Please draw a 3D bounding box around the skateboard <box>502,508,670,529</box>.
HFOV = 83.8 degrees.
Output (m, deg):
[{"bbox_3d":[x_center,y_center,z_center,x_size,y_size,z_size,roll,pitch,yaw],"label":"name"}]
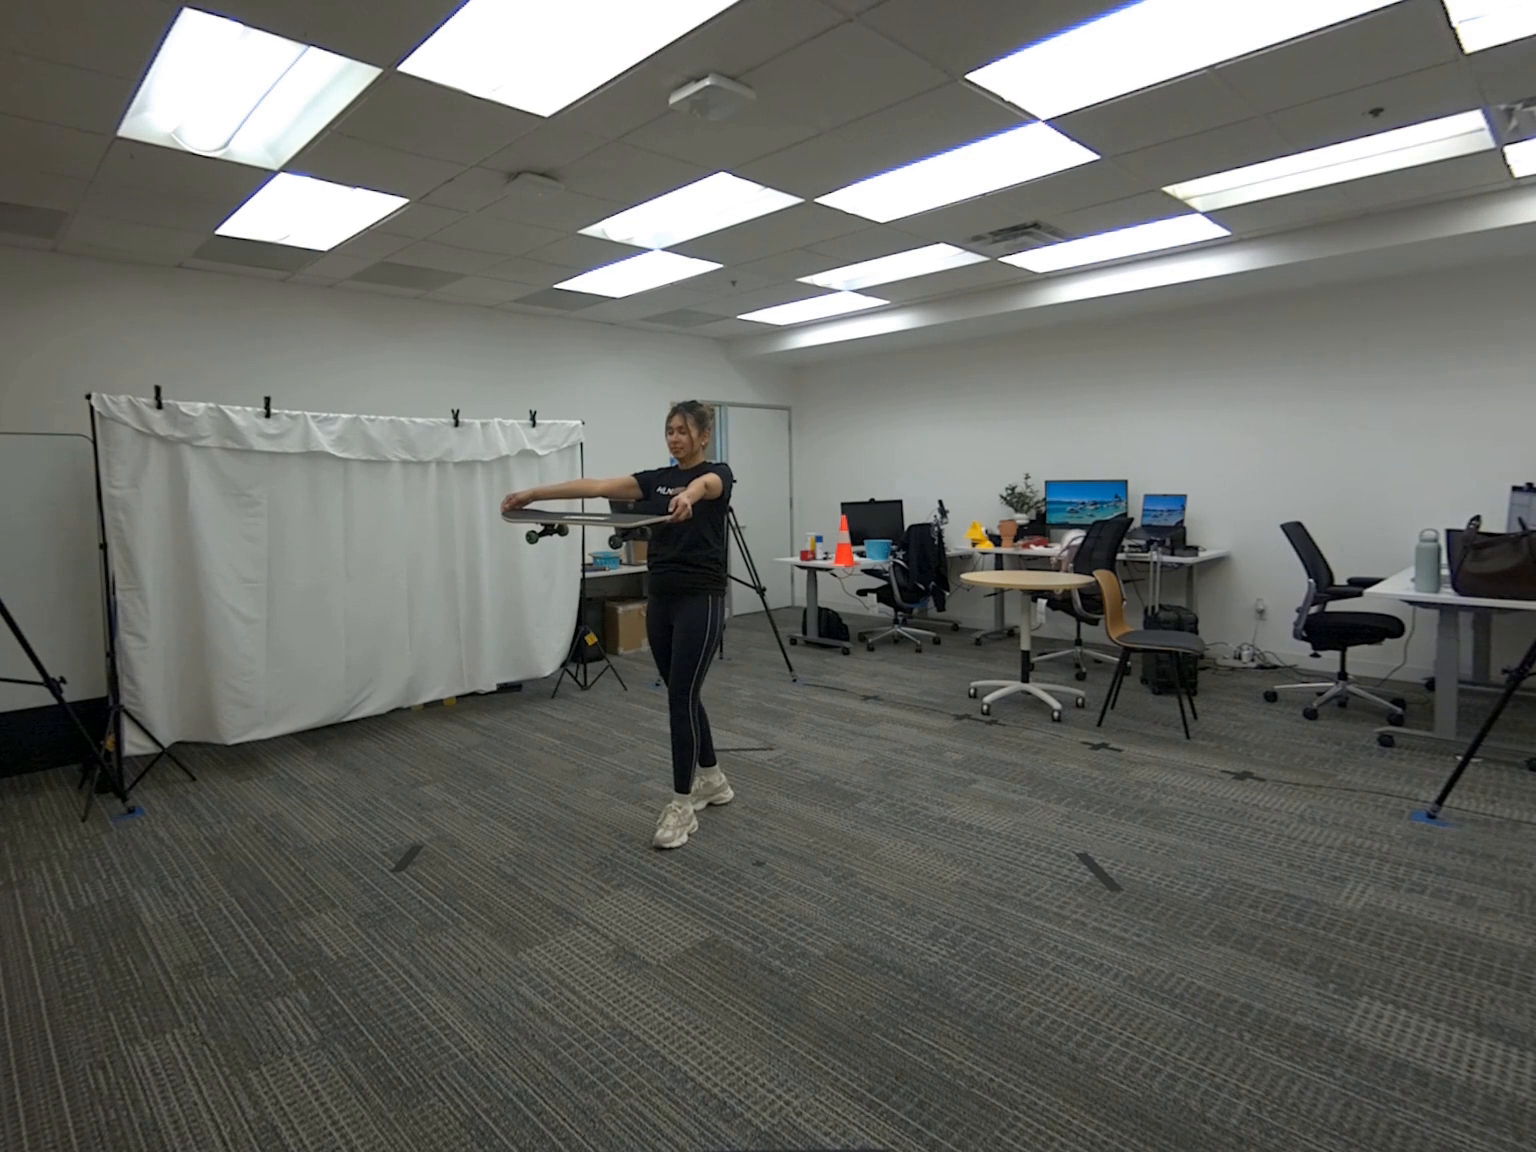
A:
[{"bbox_3d":[-0.643,-0.173,3.018,0.808,0.109,0.190,4,15,33],"label":"skateboard"}]
